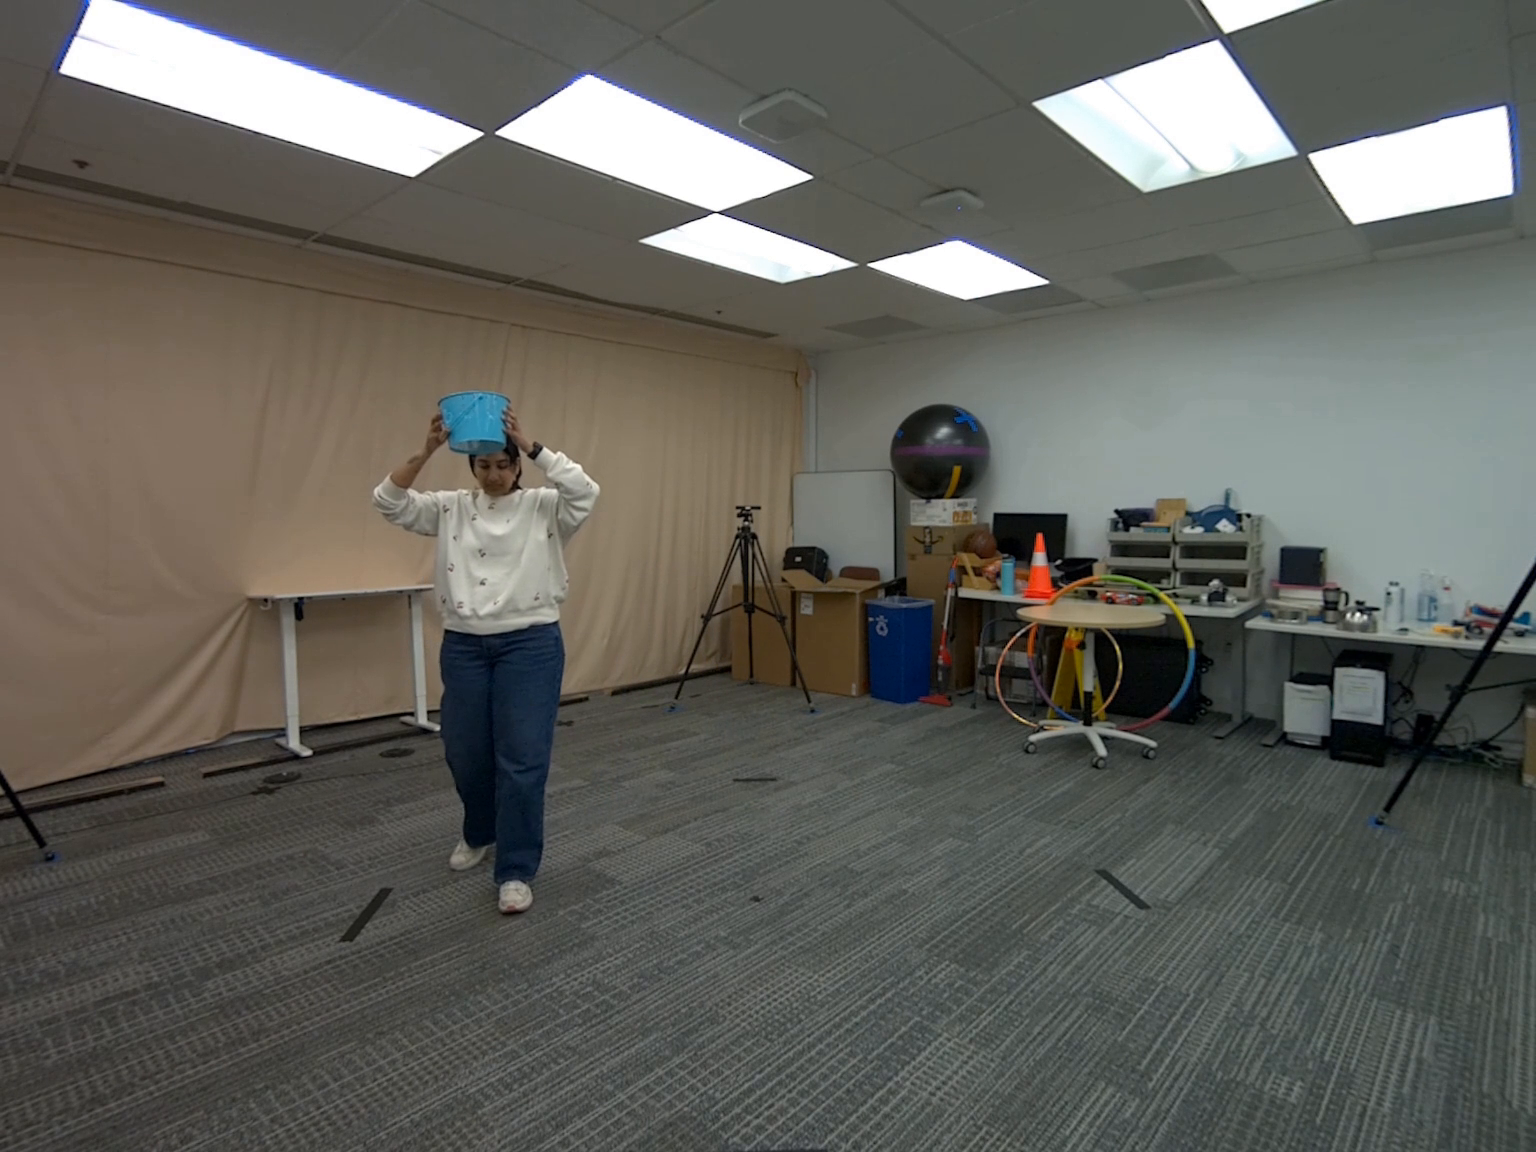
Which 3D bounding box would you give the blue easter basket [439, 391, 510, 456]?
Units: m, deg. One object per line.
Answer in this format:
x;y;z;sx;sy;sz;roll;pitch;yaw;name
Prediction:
-0.977;-0.501;2.784;0.243;0.157;0.243;-5;-6;-2;blue easter basket
